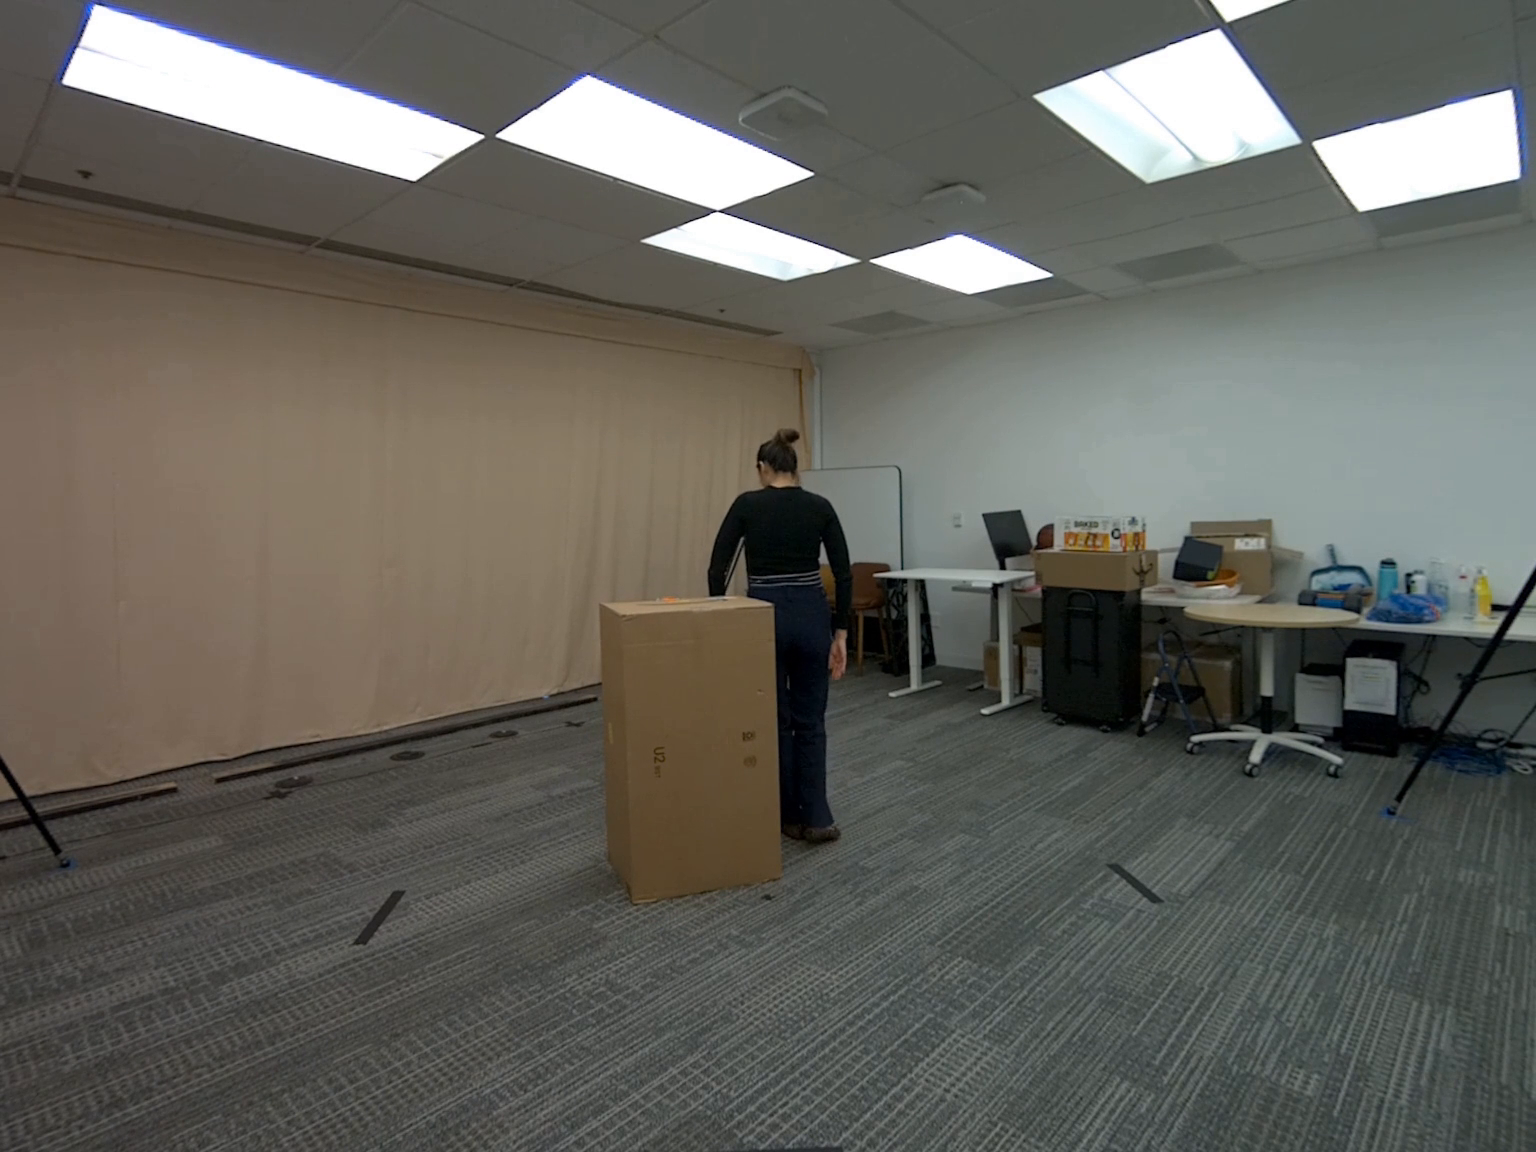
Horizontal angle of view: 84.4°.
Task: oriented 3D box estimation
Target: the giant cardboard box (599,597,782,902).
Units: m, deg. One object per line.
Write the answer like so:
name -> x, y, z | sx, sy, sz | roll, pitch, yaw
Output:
giant cardboard box -> -0.308, 0.616, 3.209 | 0.566, 1.024, 0.436 | -3, 3, -21
